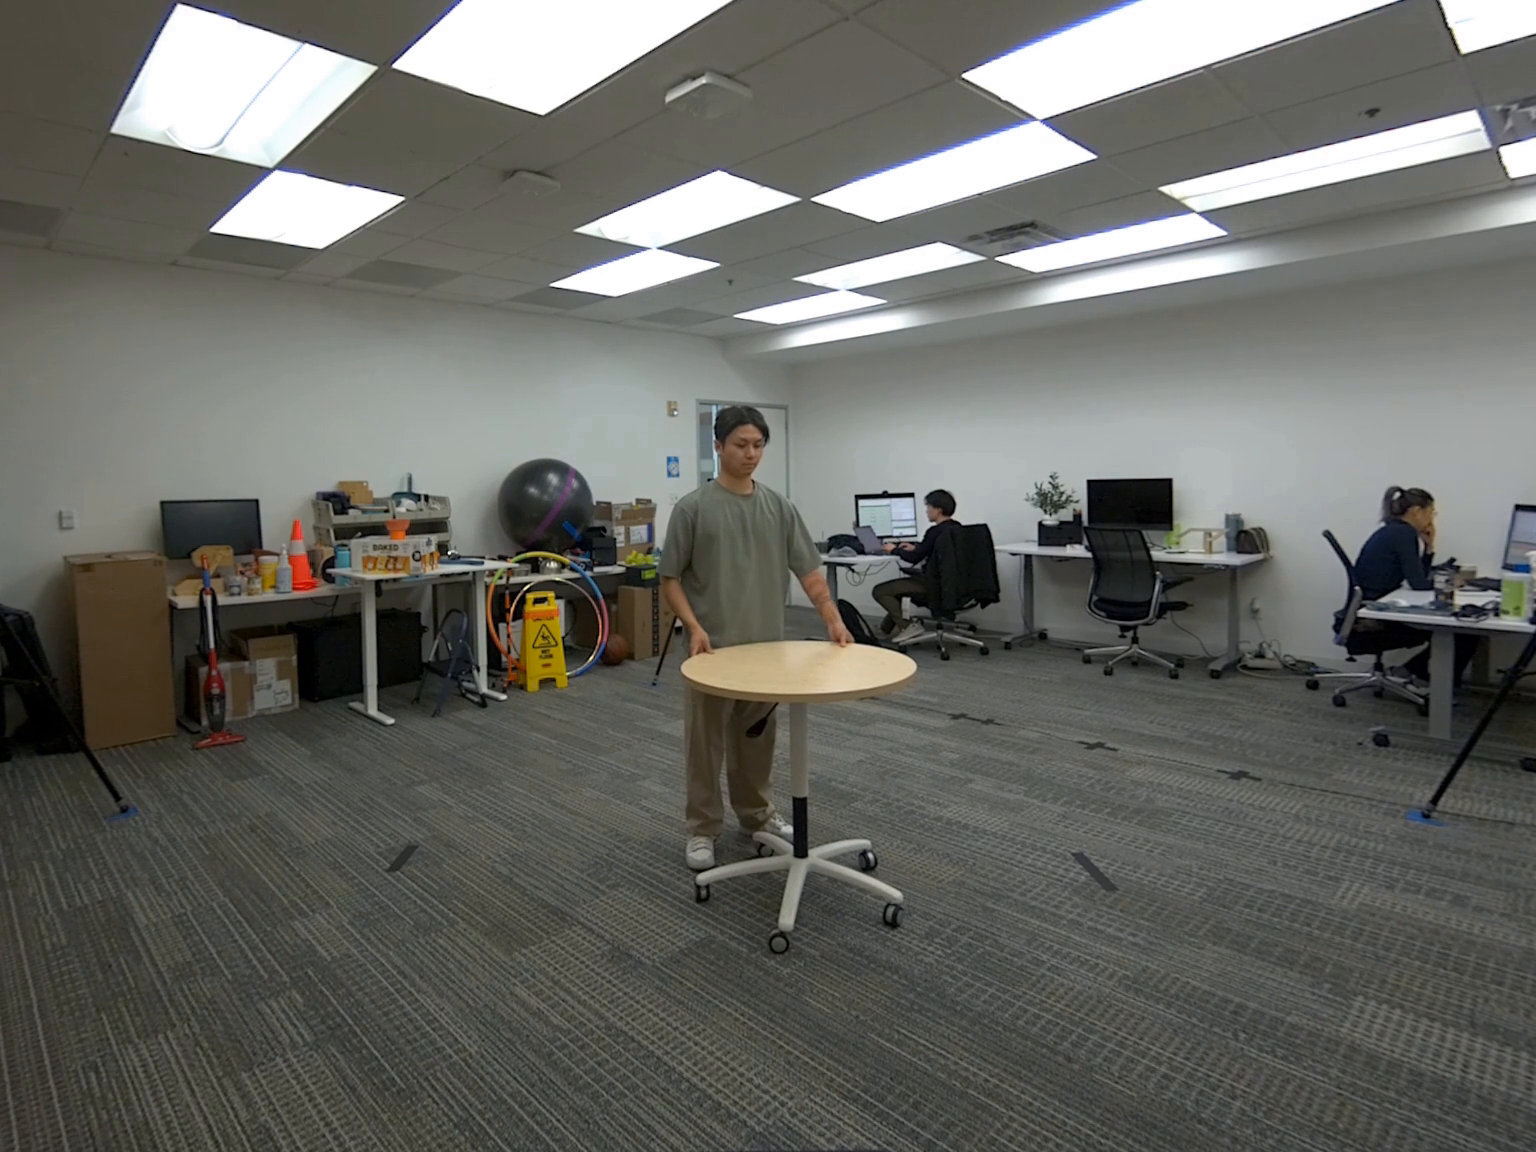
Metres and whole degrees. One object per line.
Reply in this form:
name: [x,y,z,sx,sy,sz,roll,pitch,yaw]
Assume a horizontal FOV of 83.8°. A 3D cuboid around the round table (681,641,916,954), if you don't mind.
round table: [0.125,0.680,2.828,0.784,0.783,0.790,-1,6,-2]
